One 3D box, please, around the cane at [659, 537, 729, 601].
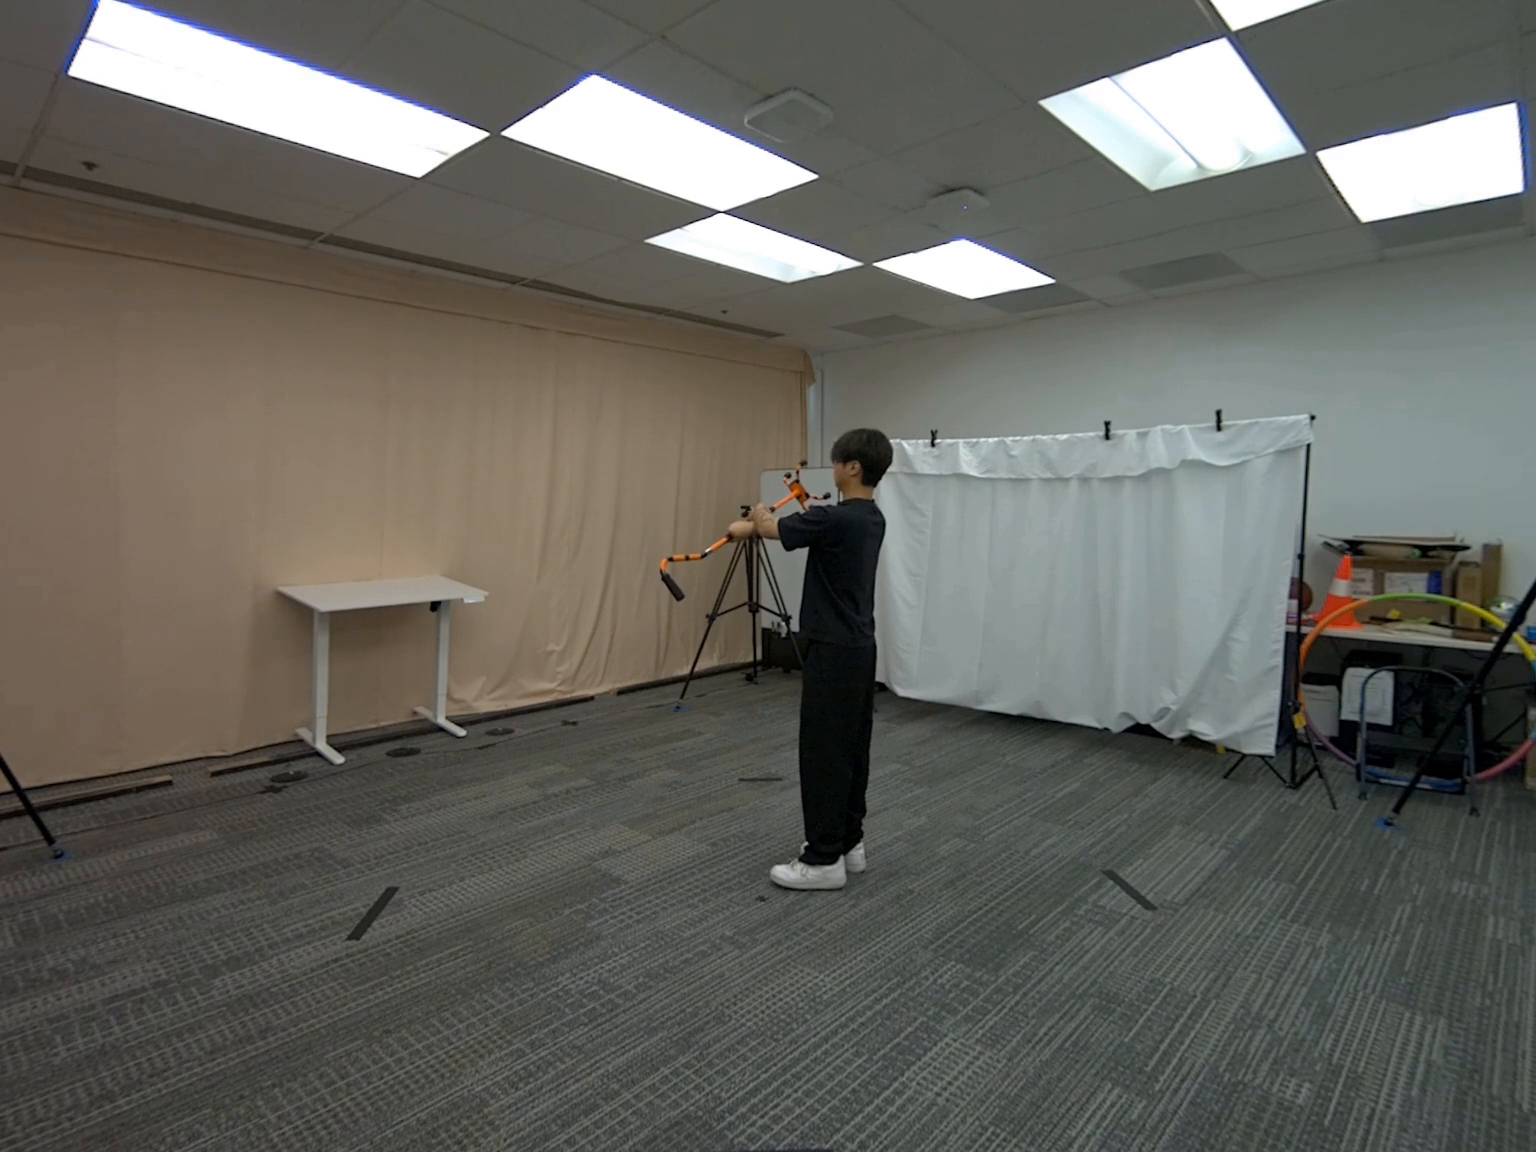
[{"bbox_3d":[-0.097,-0.194,3.411,0.894,0.207,0.153,-36,-1,-39],"label":"cane"}]
